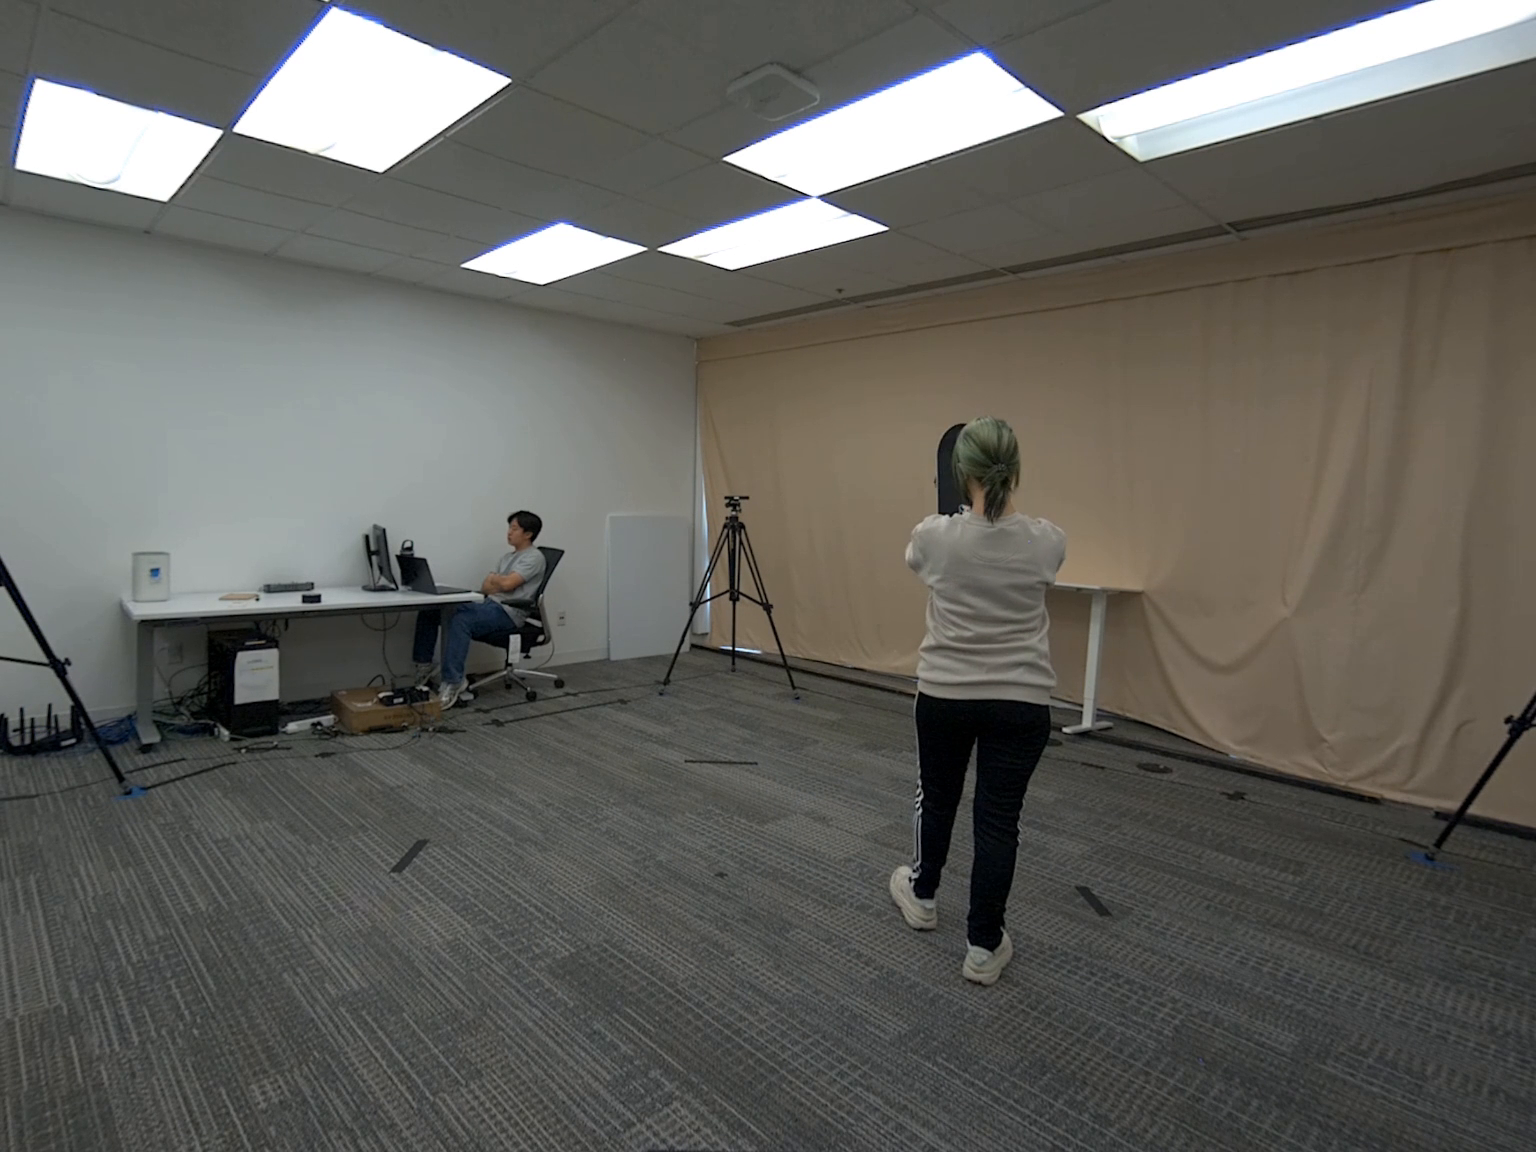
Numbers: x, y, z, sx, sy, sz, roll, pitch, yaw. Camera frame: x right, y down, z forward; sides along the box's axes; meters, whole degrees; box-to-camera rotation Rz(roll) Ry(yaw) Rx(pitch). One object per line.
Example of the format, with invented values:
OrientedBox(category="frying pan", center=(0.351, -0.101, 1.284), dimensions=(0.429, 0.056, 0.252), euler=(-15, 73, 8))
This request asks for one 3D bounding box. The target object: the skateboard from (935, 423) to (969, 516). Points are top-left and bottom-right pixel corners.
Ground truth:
OrientedBox(category="skateboard", center=(0.696, -0.147, 3.013), dimensions=(0.194, 0.789, 0.109), euler=(0, -6, 3))
